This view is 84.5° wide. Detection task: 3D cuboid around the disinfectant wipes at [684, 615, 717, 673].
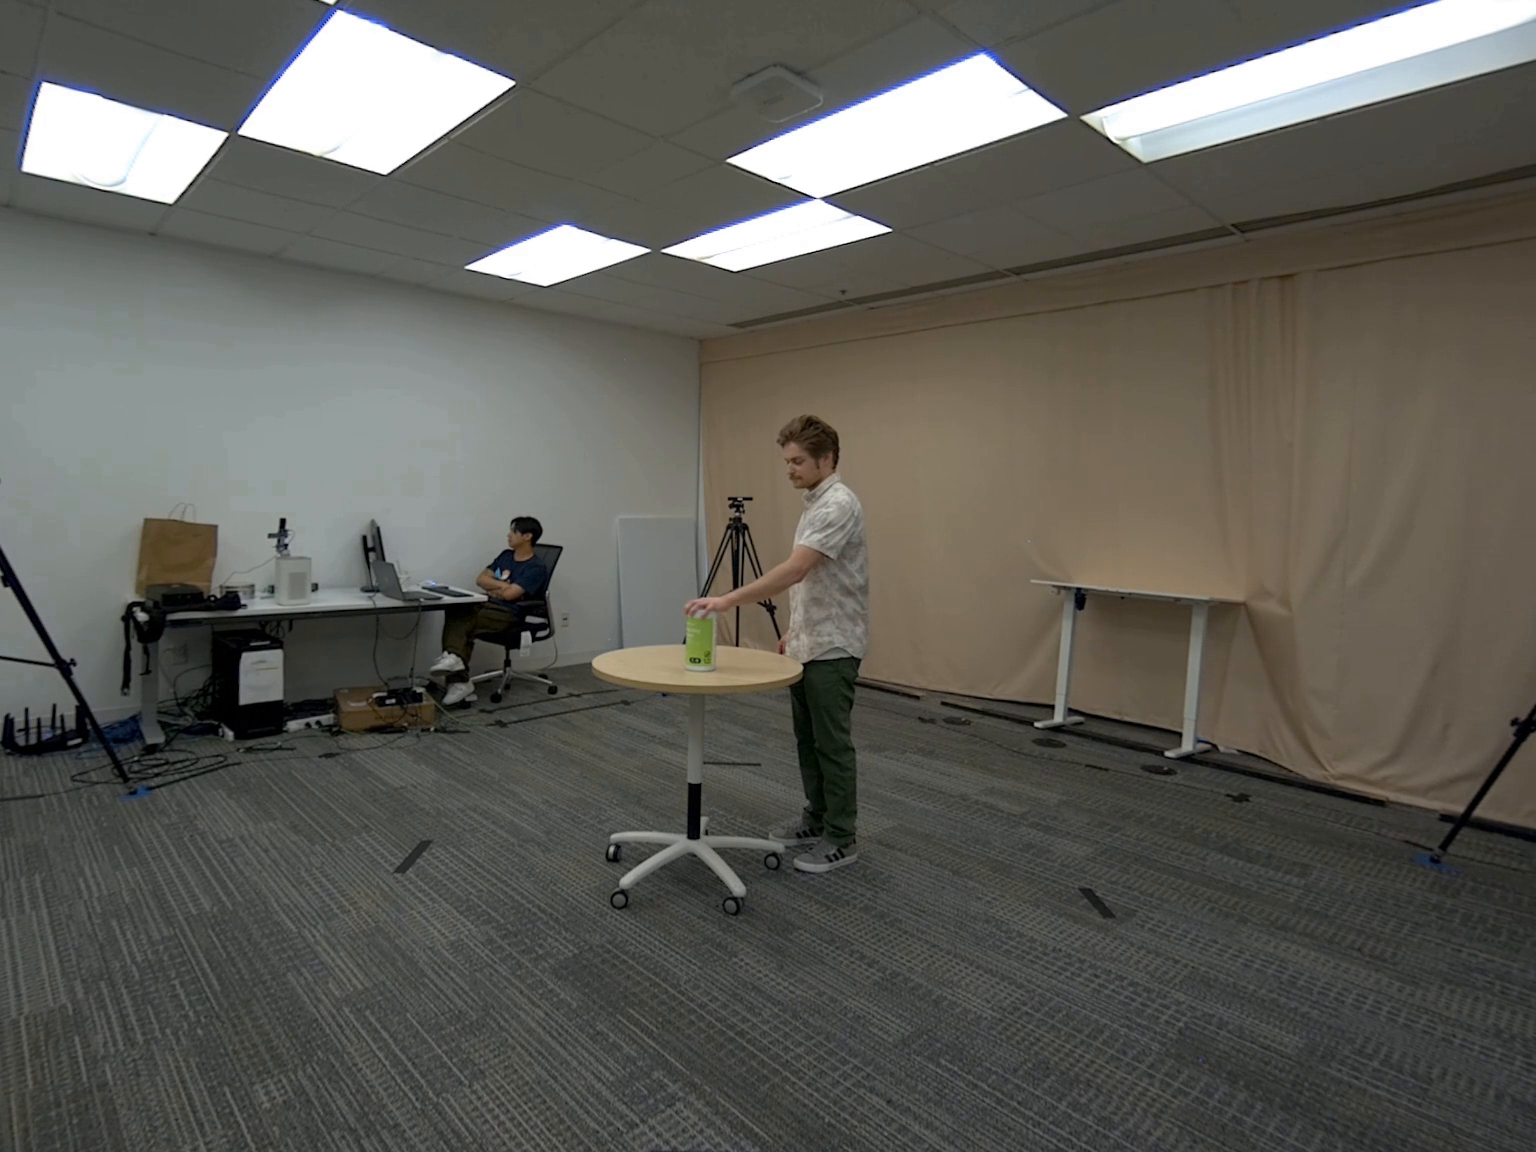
[{"bbox_3d":[-0.241,0.225,2.948,0.118,0.217,0.118,0,5,-1],"label":"disinfectant wipes"}]
